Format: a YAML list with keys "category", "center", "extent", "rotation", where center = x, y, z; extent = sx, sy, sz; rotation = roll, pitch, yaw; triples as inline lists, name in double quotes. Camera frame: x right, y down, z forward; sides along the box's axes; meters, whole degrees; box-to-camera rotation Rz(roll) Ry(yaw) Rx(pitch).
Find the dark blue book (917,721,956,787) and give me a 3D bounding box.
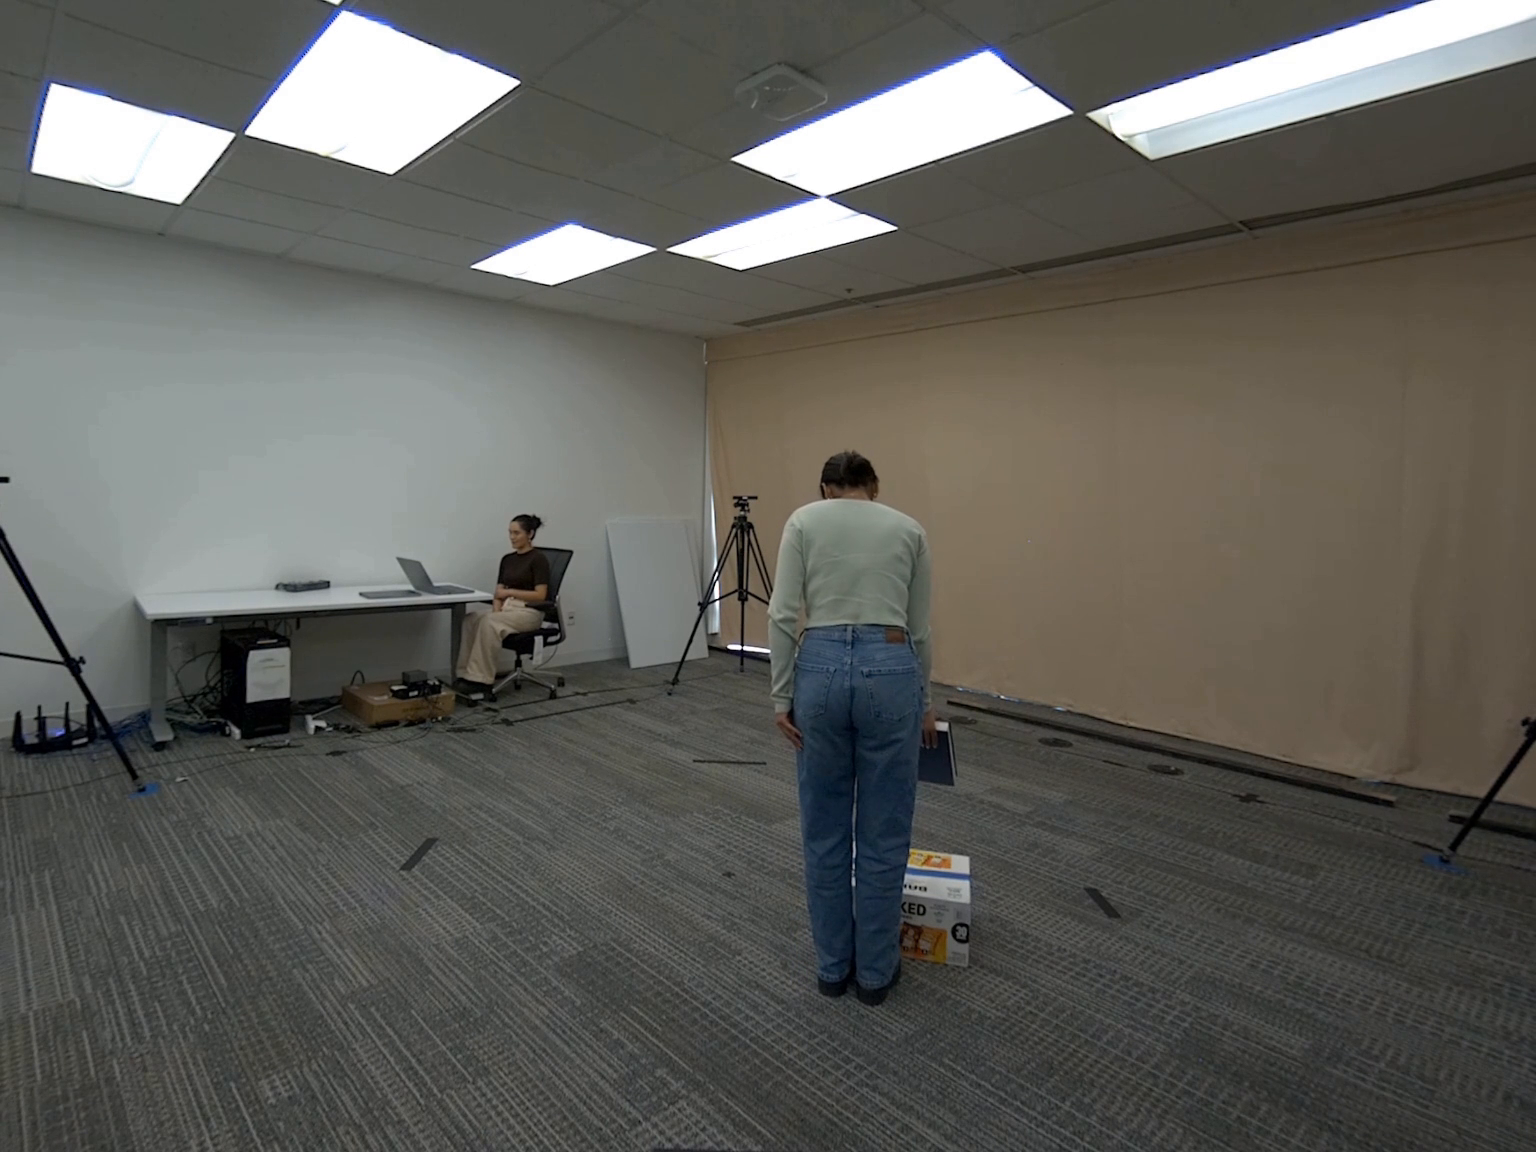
- category: "dark blue book"
  center: [0.498, 0.549, 2.622]
  extent: [0.166, 0.239, 0.045]
  rotation: [3, 34, 26]
